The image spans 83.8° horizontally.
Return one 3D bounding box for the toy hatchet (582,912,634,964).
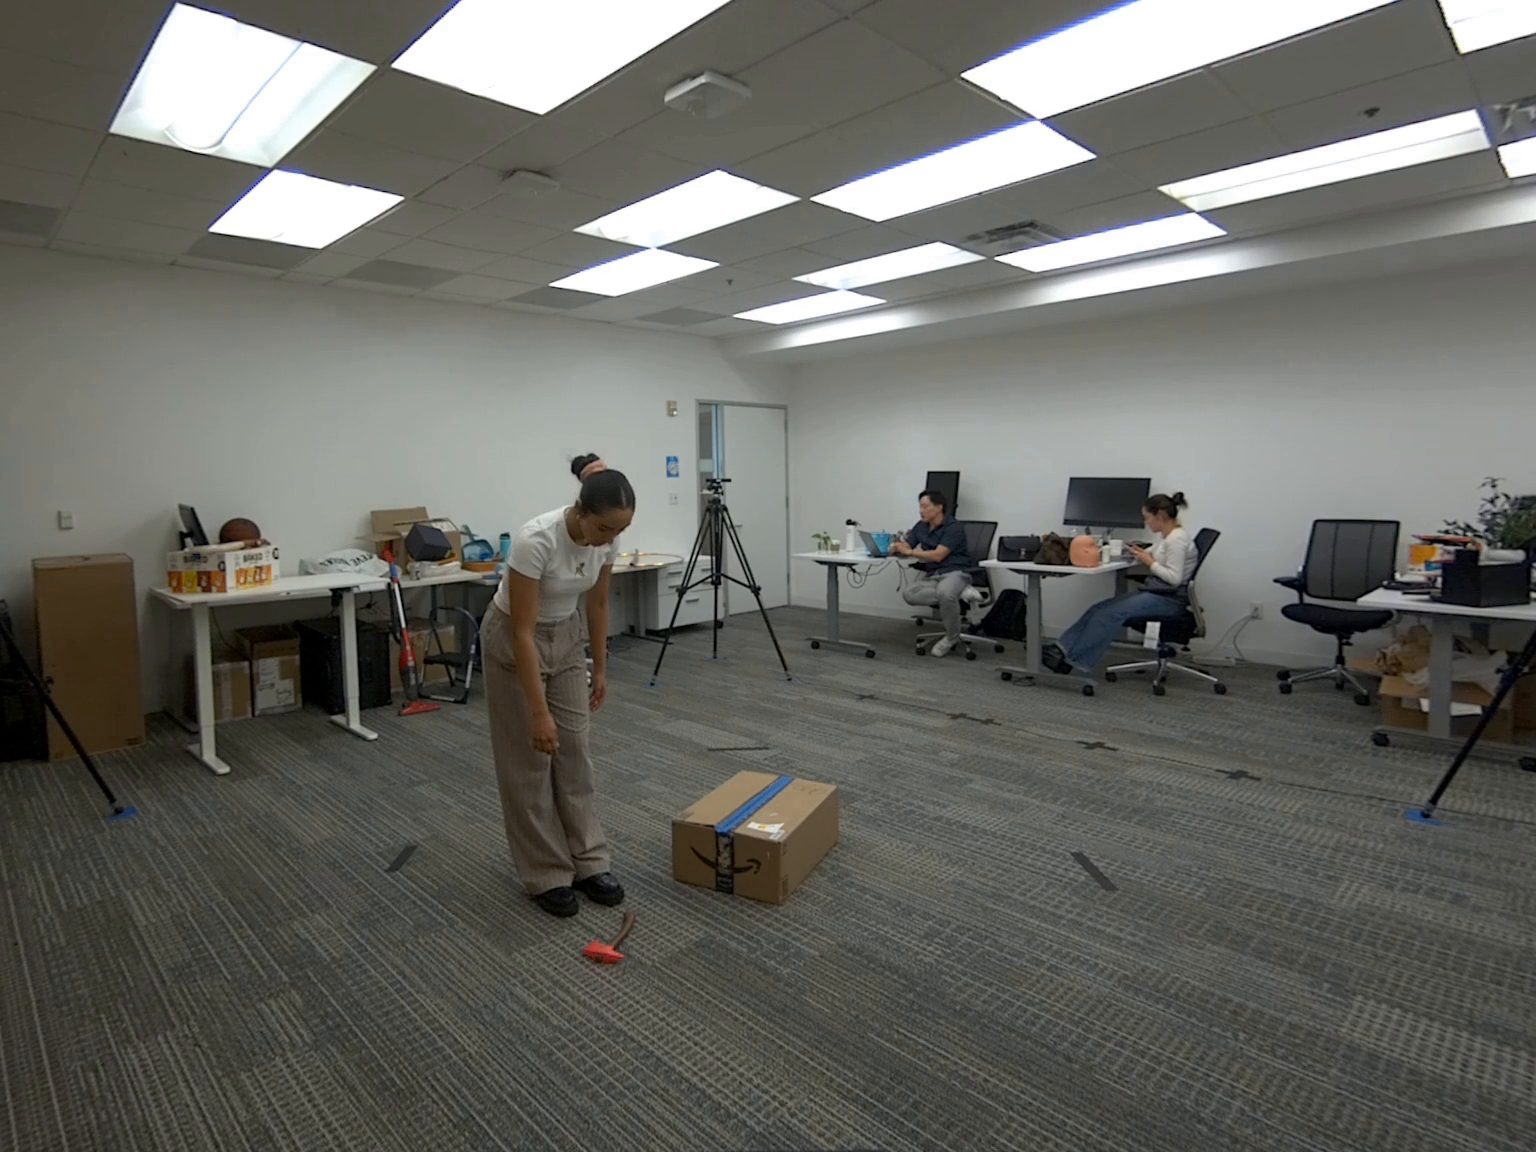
[{"bbox_3d":[-0.483,1.100,2.613,0.131,0.029,0.270,-4,4,0],"label":"toy hatchet"}]
